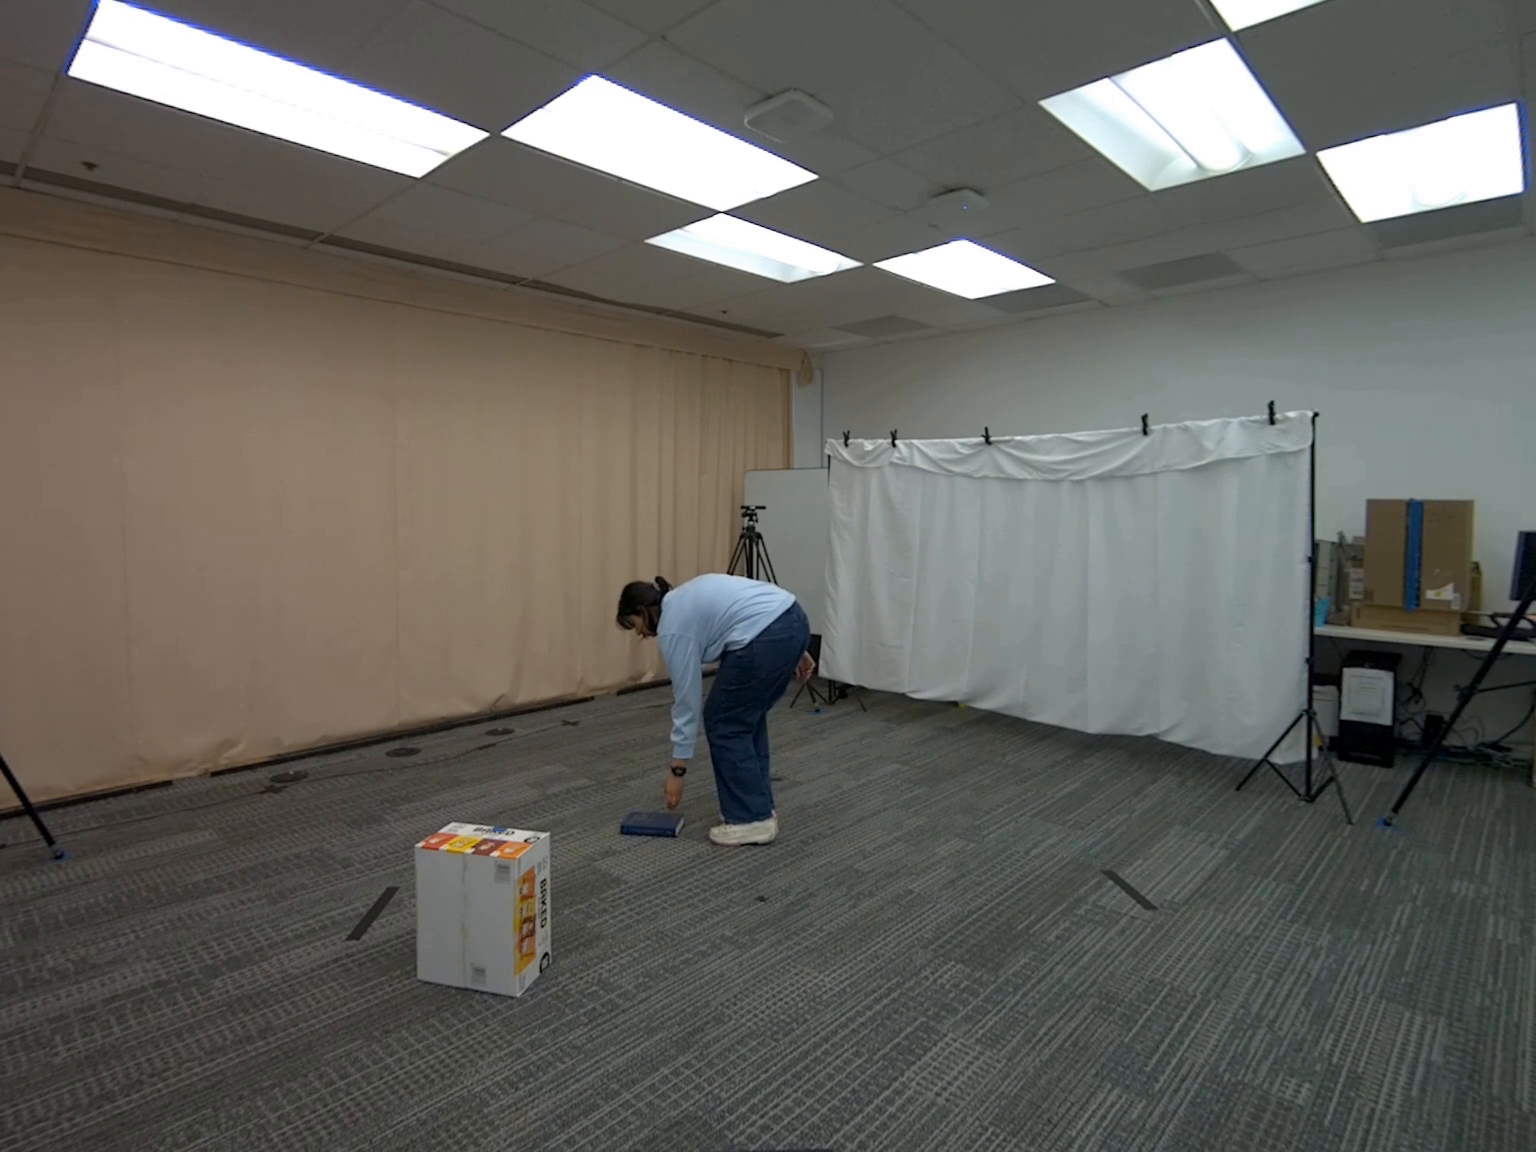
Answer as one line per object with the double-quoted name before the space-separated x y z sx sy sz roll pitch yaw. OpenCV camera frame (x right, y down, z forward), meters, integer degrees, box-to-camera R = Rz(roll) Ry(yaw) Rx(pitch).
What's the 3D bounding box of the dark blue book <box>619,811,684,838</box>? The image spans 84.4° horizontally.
"dark blue book" -0.496 1.071 3.638 0.248 0.045 0.162 0 5 10
